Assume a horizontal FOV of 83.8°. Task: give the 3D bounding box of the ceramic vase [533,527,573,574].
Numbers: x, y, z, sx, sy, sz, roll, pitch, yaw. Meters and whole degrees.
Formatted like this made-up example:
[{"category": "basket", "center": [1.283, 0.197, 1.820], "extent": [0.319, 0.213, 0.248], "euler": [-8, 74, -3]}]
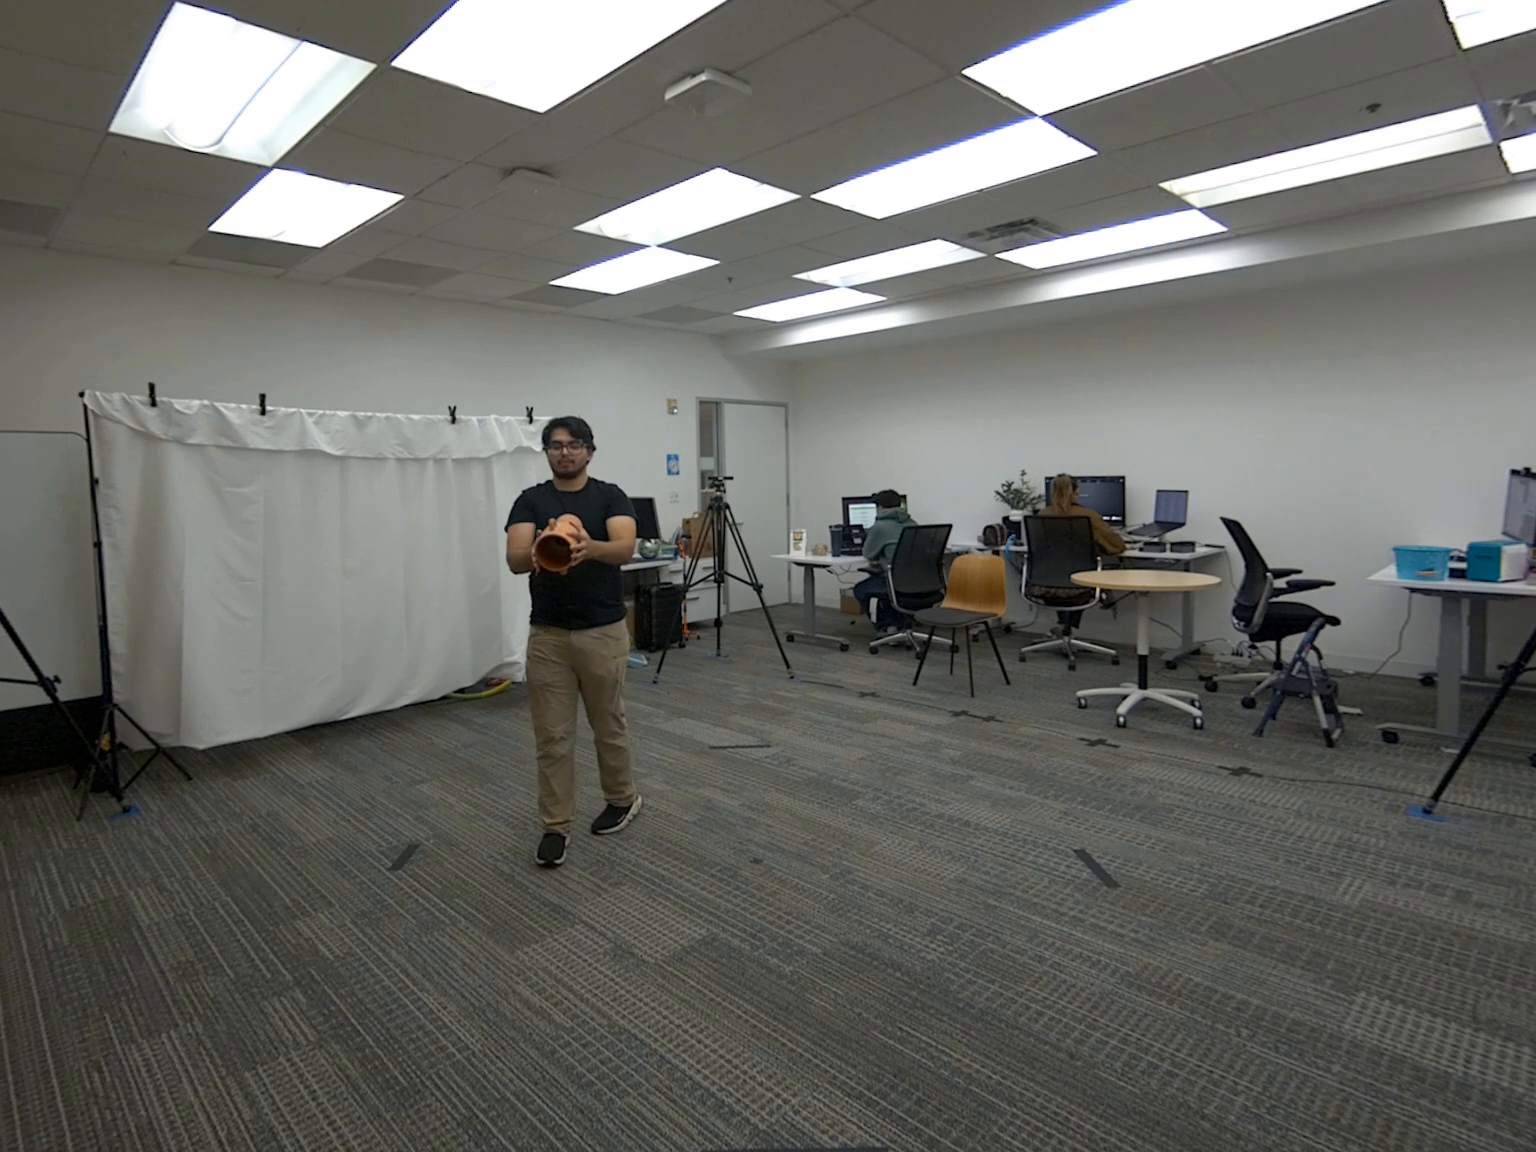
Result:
[{"category": "ceramic vase", "center": [-0.689, -0.121, 2.855], "extent": [0.133, 0.158, 0.223], "euler": [35, 21, -11]}]
